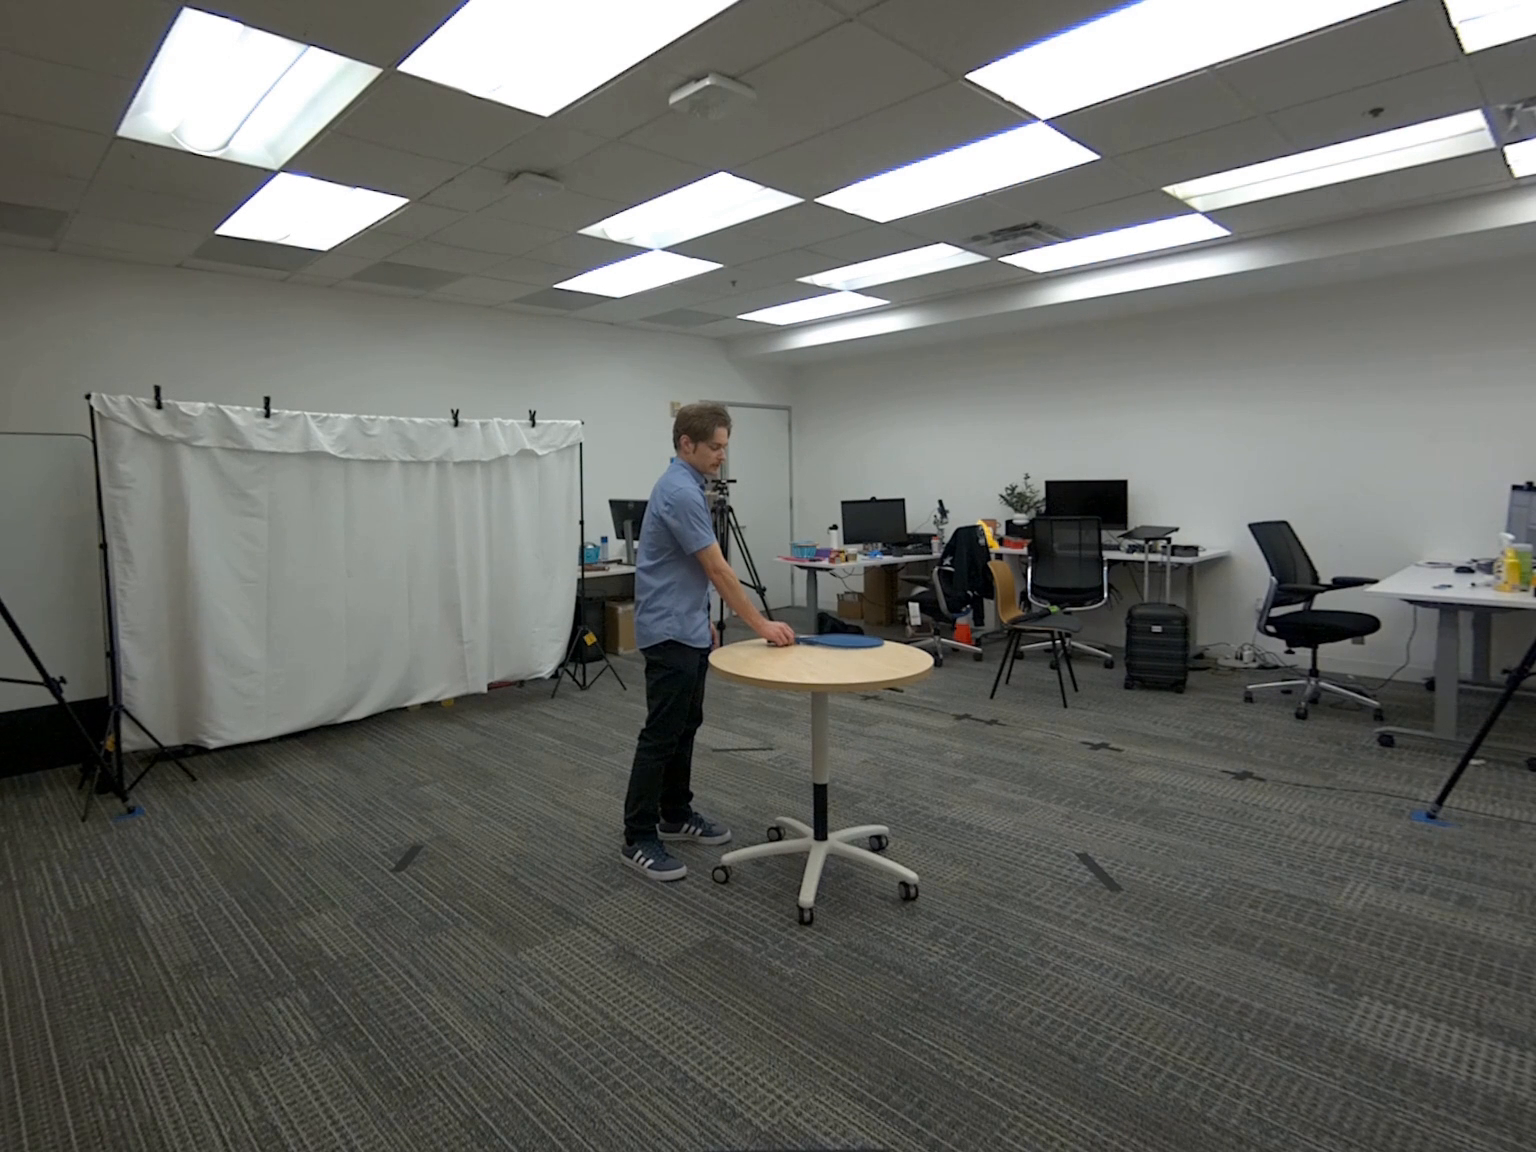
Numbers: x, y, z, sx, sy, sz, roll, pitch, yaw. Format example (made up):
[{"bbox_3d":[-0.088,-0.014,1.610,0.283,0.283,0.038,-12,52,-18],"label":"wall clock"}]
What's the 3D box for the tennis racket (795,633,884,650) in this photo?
[{"bbox_3d":[0.214,0.242,3.163,0.433,0.031,0.215,1,7,-1],"label":"tennis racket"}]
